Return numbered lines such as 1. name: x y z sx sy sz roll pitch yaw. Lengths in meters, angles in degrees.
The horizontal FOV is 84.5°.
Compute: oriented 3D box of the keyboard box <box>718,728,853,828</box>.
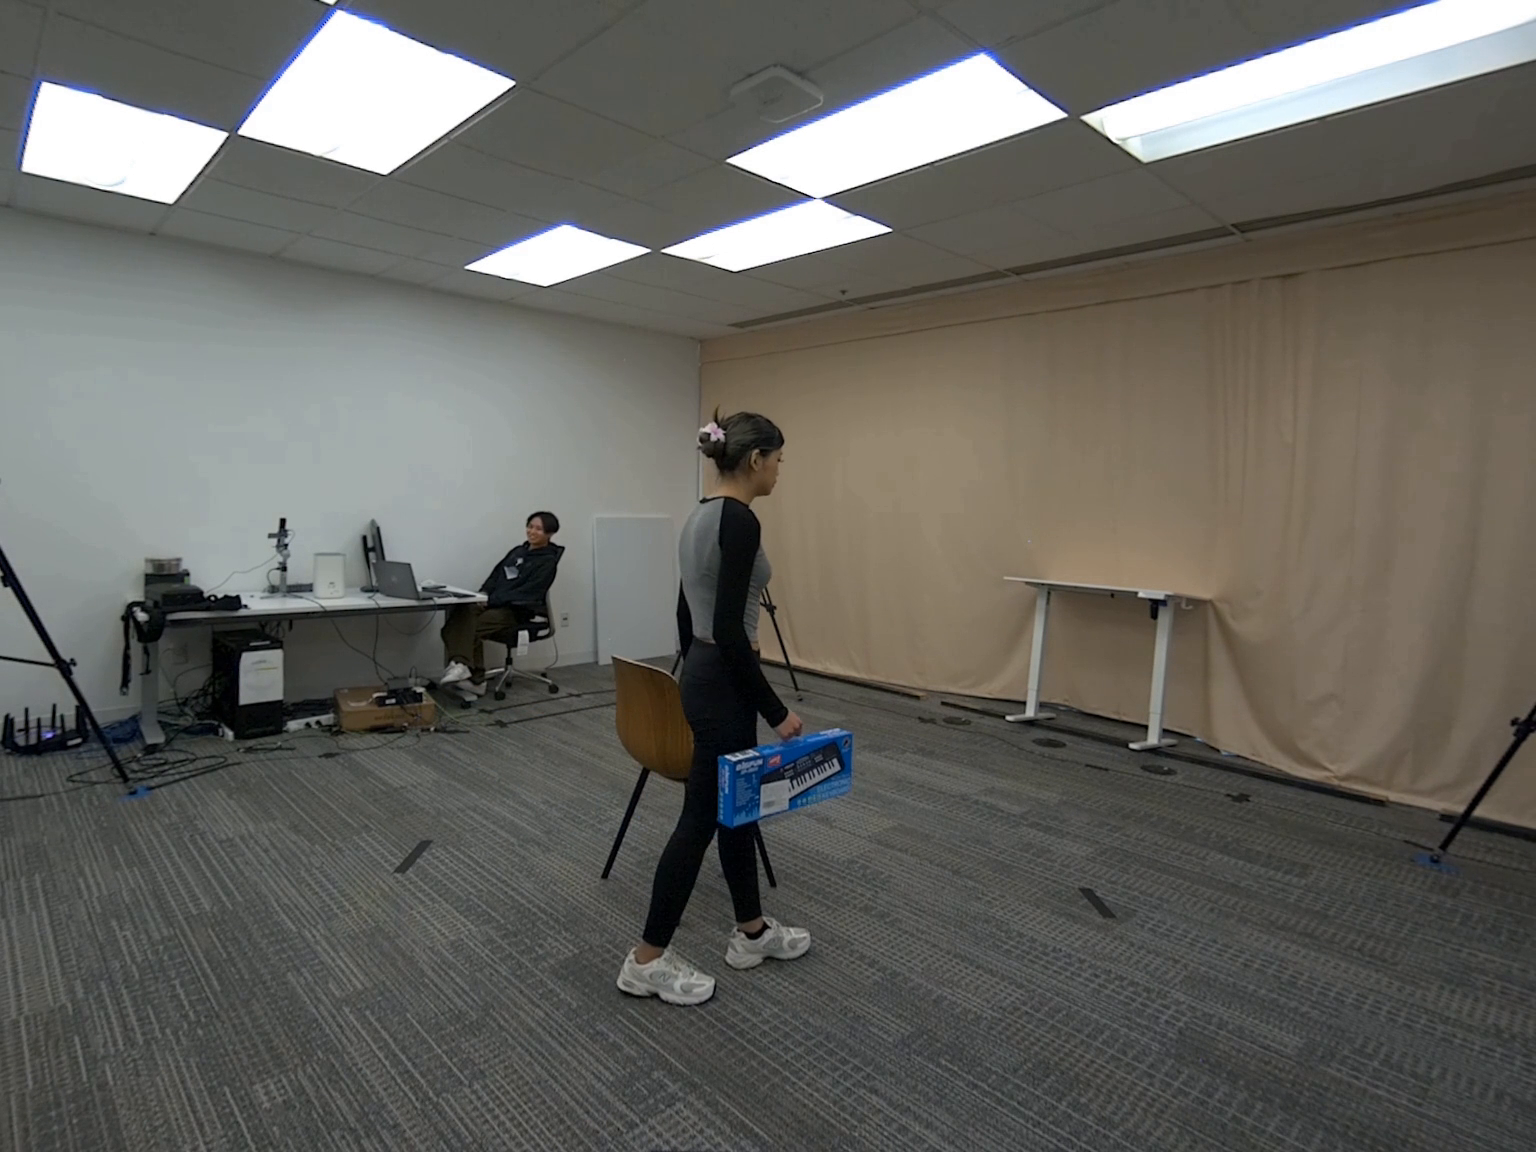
1. keyboard box: 0.045 0.539 2.273 0.427 0.175 0.060 -3 4 -37
